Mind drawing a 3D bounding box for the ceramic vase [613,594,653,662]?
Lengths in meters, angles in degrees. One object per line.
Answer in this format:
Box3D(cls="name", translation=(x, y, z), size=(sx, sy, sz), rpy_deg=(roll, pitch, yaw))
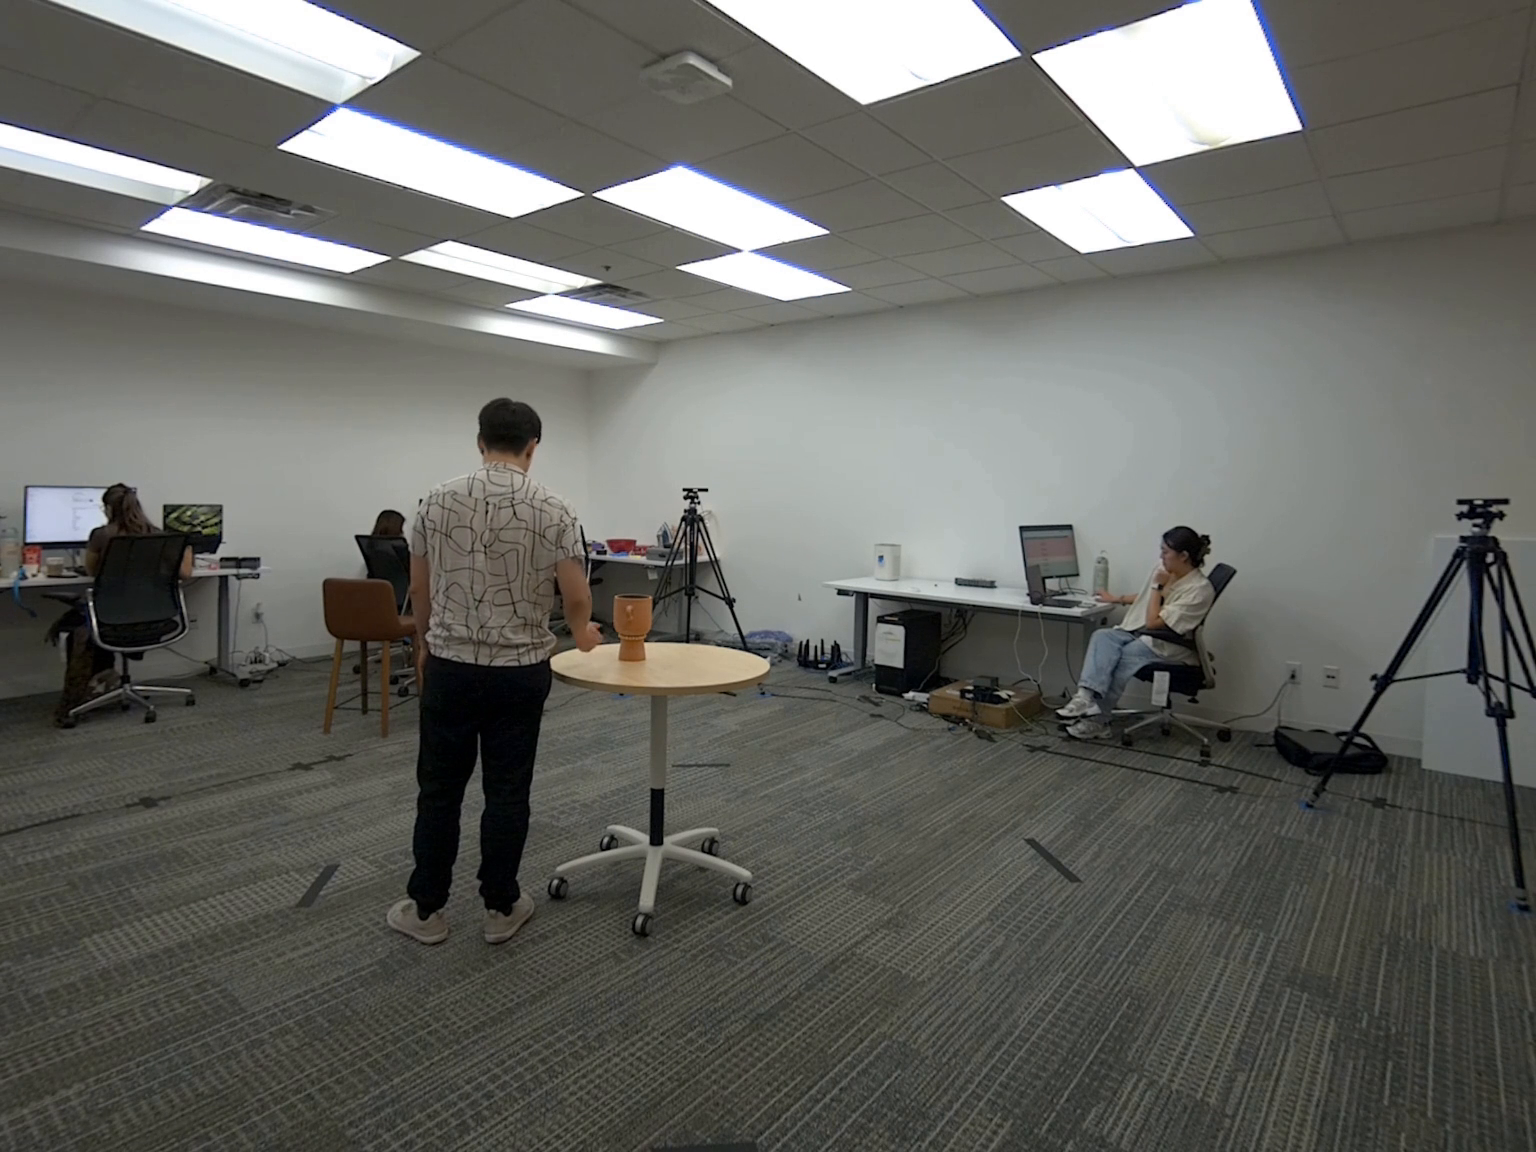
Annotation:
Box3D(cls="ceramic vase", translation=(-0.494, 0.182, 2.999), size=(0.139, 0.219, 0.154), rpy_deg=(3, 5, 39))
